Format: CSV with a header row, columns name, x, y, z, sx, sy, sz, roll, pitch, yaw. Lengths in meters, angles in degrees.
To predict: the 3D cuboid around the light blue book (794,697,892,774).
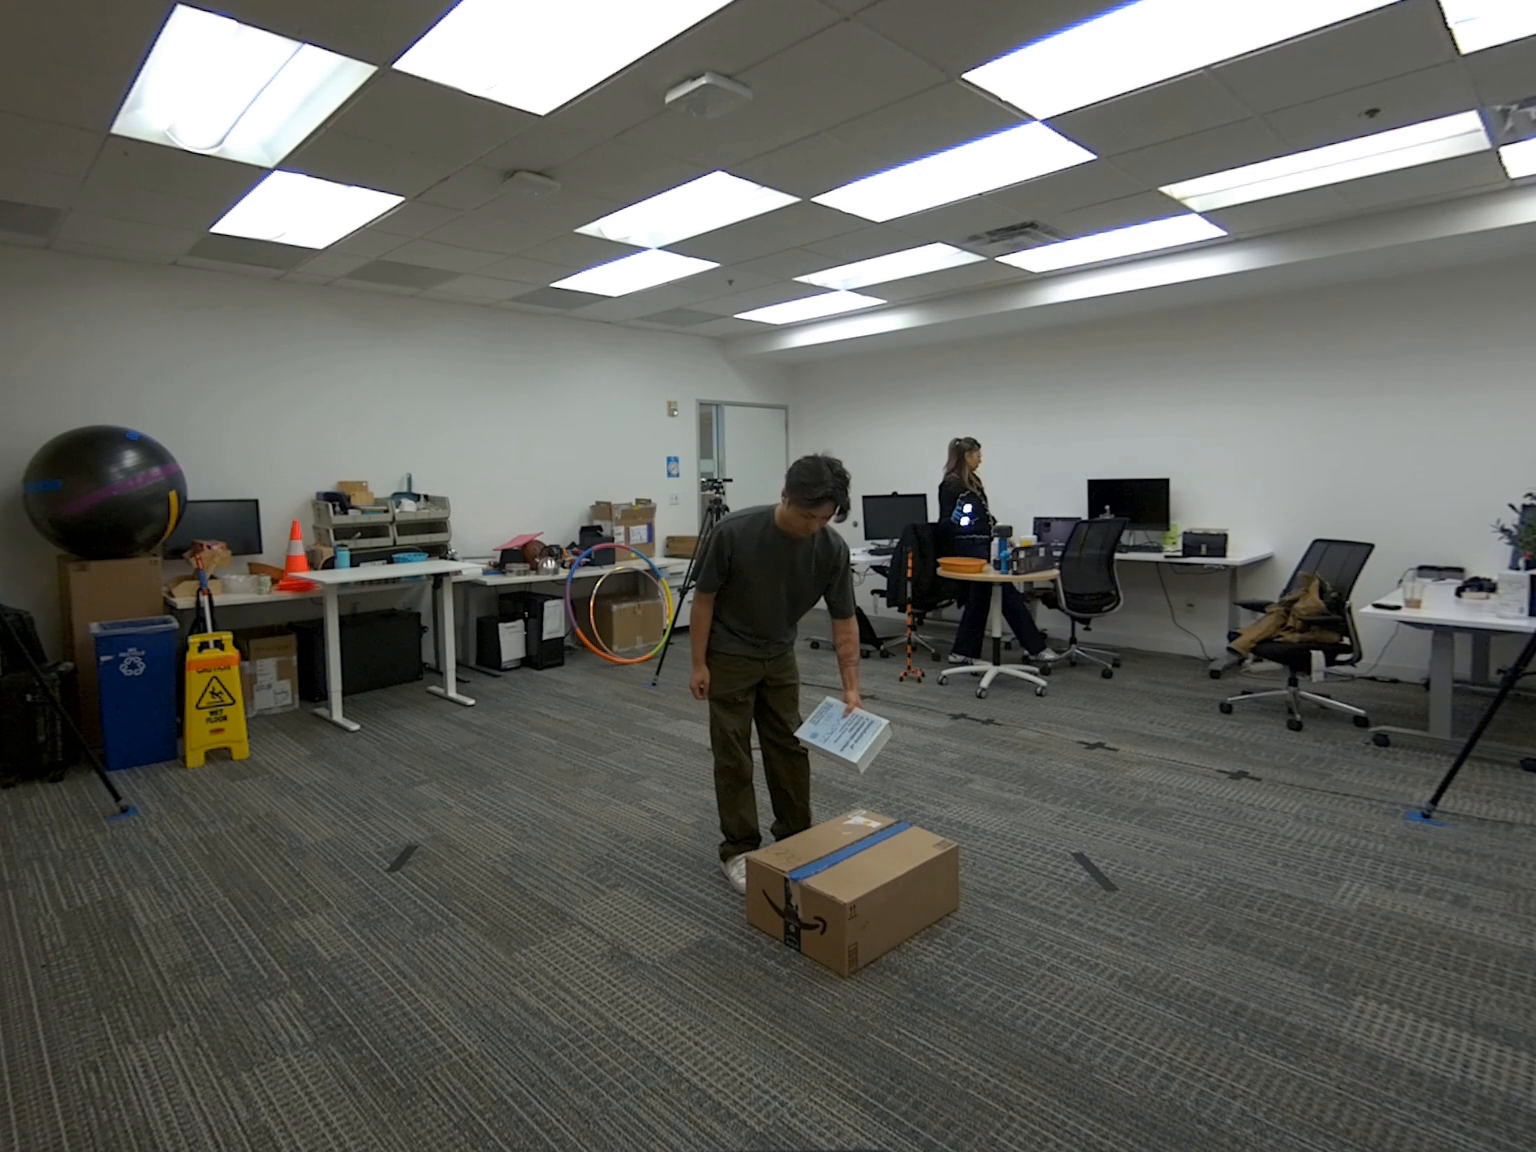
name,x,y,z,sx,sy,sz,roll,pitch,yaw
light blue book,0.249,0.513,2.759,0.270,0.057,0.191,14,50,44
